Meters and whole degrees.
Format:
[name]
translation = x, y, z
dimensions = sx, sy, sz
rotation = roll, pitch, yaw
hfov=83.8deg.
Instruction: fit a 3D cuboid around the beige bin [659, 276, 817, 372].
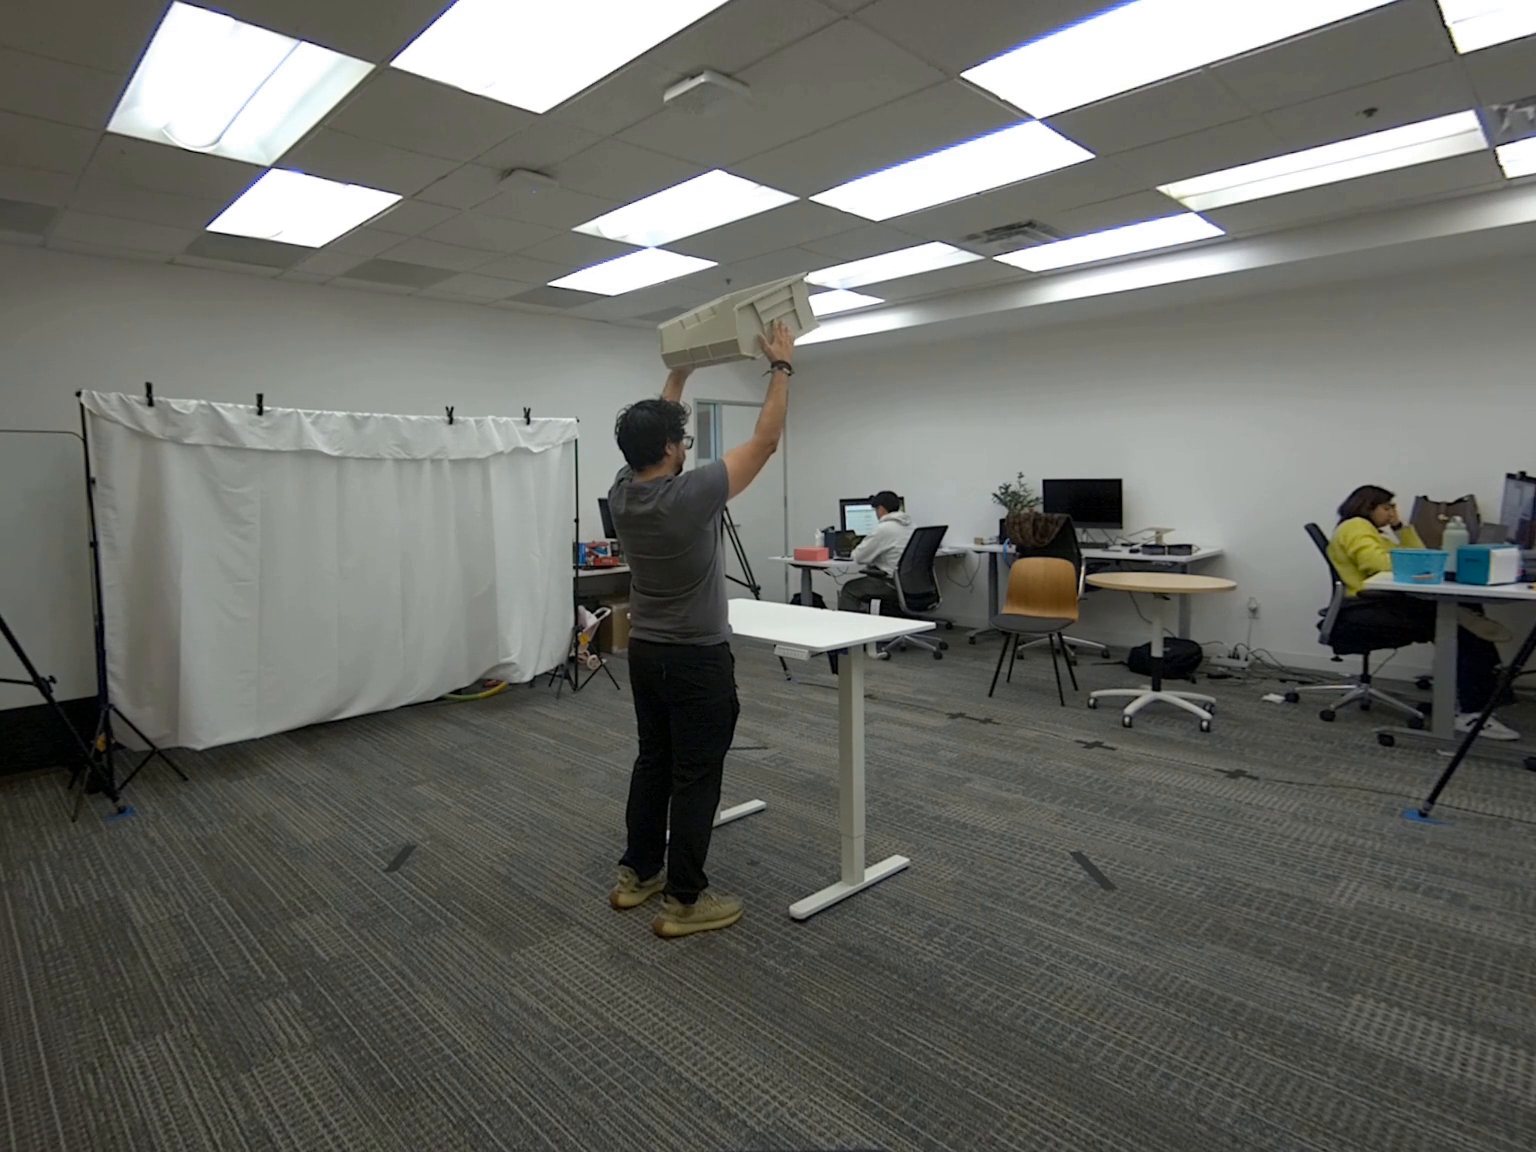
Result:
[beige bin]
translation = -0.103, -0.832, 2.864
dimensions = 0.374, 0.185, 0.435
rotation = -36, 26, -33
